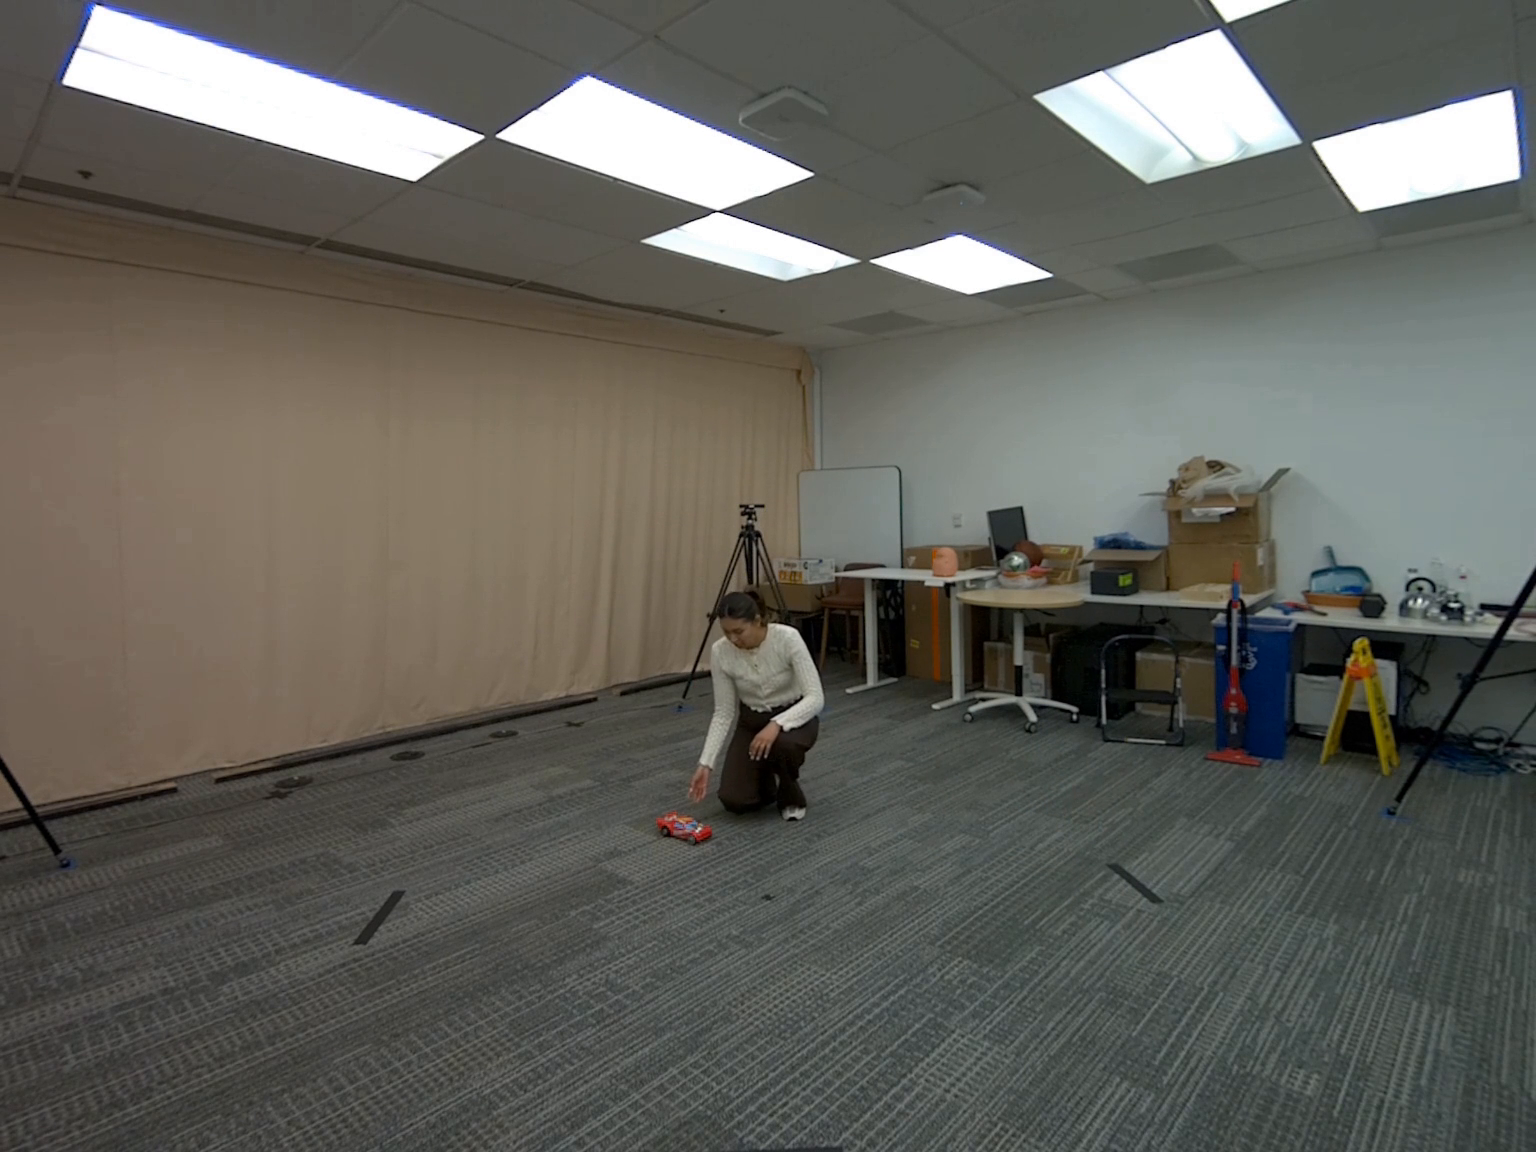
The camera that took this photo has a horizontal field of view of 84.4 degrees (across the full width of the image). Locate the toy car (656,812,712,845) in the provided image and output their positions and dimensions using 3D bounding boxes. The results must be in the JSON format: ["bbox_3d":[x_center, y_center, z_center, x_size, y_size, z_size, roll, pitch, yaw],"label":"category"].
[{"bbox_3d":[-0.360,1.066,3.561,0.263,0.083,0.126,14,13,36],"label":"toy car"}]
